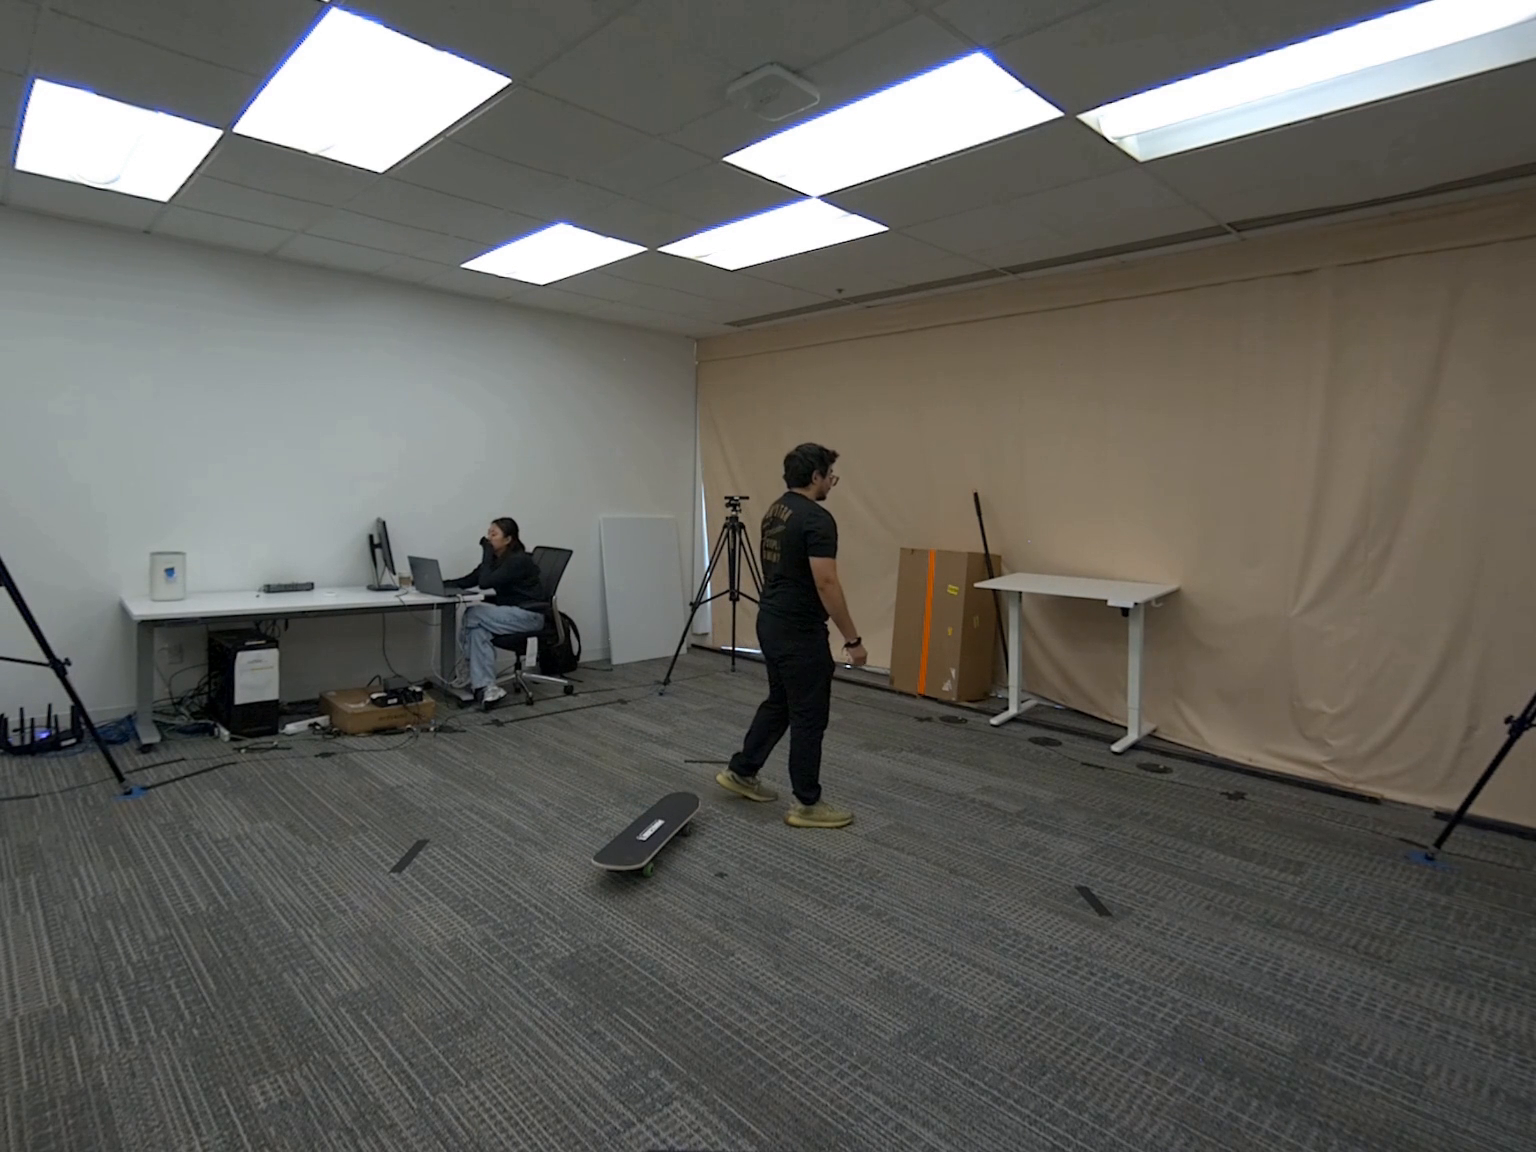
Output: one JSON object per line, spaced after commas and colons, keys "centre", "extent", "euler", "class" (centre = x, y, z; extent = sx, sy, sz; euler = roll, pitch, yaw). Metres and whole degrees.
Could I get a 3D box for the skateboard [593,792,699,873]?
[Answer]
{"centre": [-0.464, 1.021, 3.291], "extent": [0.196, 0.110, 0.777], "euler": [3, 5, 14], "class": "skateboard"}
